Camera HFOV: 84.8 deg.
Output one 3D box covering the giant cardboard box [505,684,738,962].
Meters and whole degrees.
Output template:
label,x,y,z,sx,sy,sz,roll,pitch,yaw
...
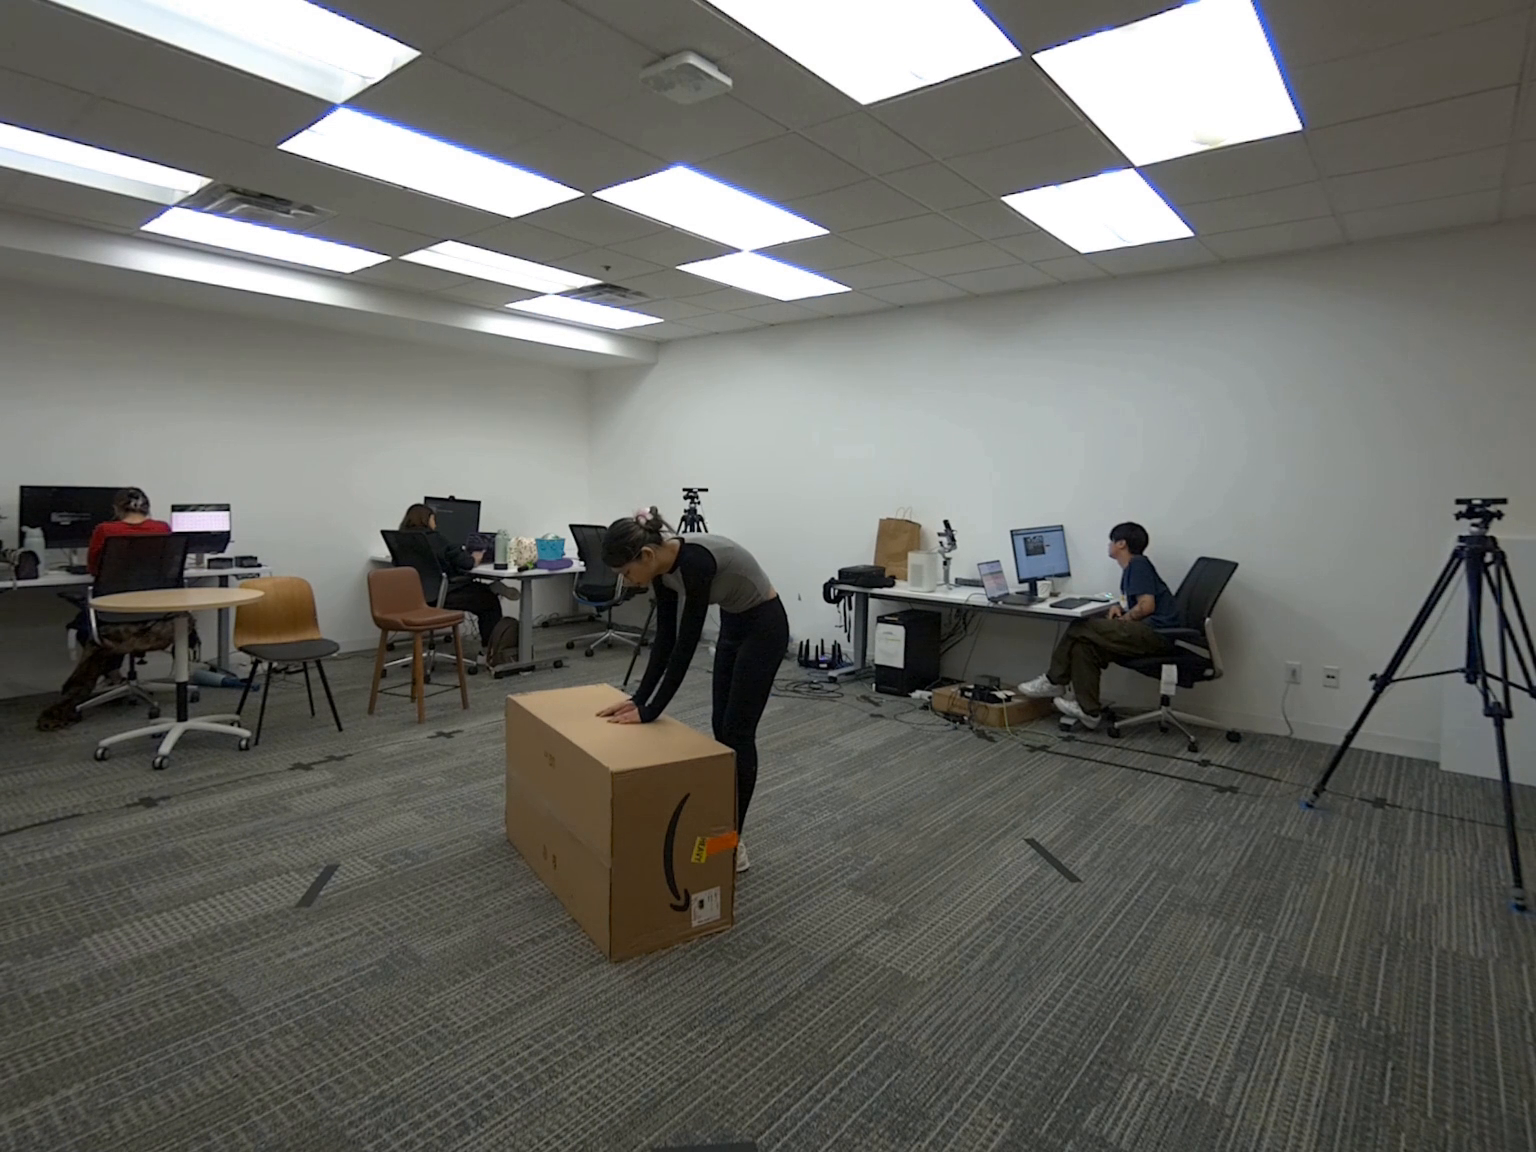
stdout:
label,x,y,z,sx,sy,sz,roll,pitch,yaw
giant cardboard box,-0.575,0.786,2.999,0.414,0.575,1.059,-2,6,-33
